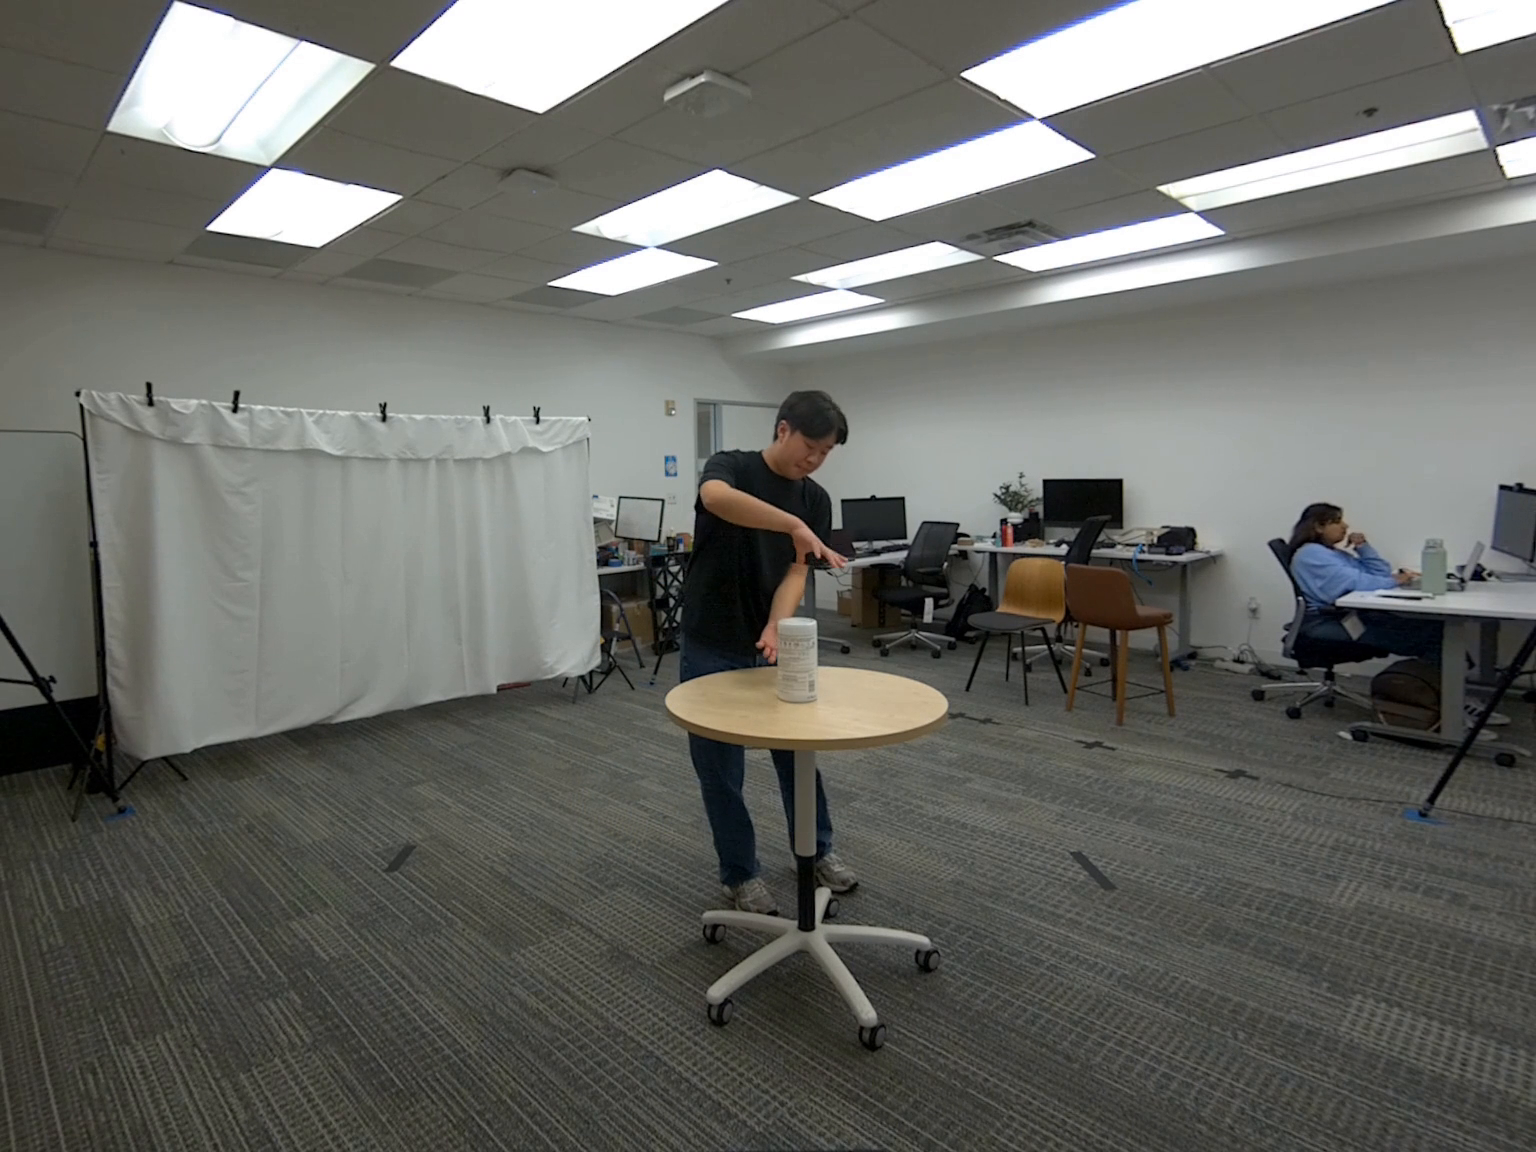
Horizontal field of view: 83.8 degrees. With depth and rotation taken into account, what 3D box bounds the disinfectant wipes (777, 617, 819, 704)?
[{"bbox_3d":[0.079,0.230,2.325,0.118,0.217,0.118,-2,4,-2],"label":"disinfectant wipes"}]
